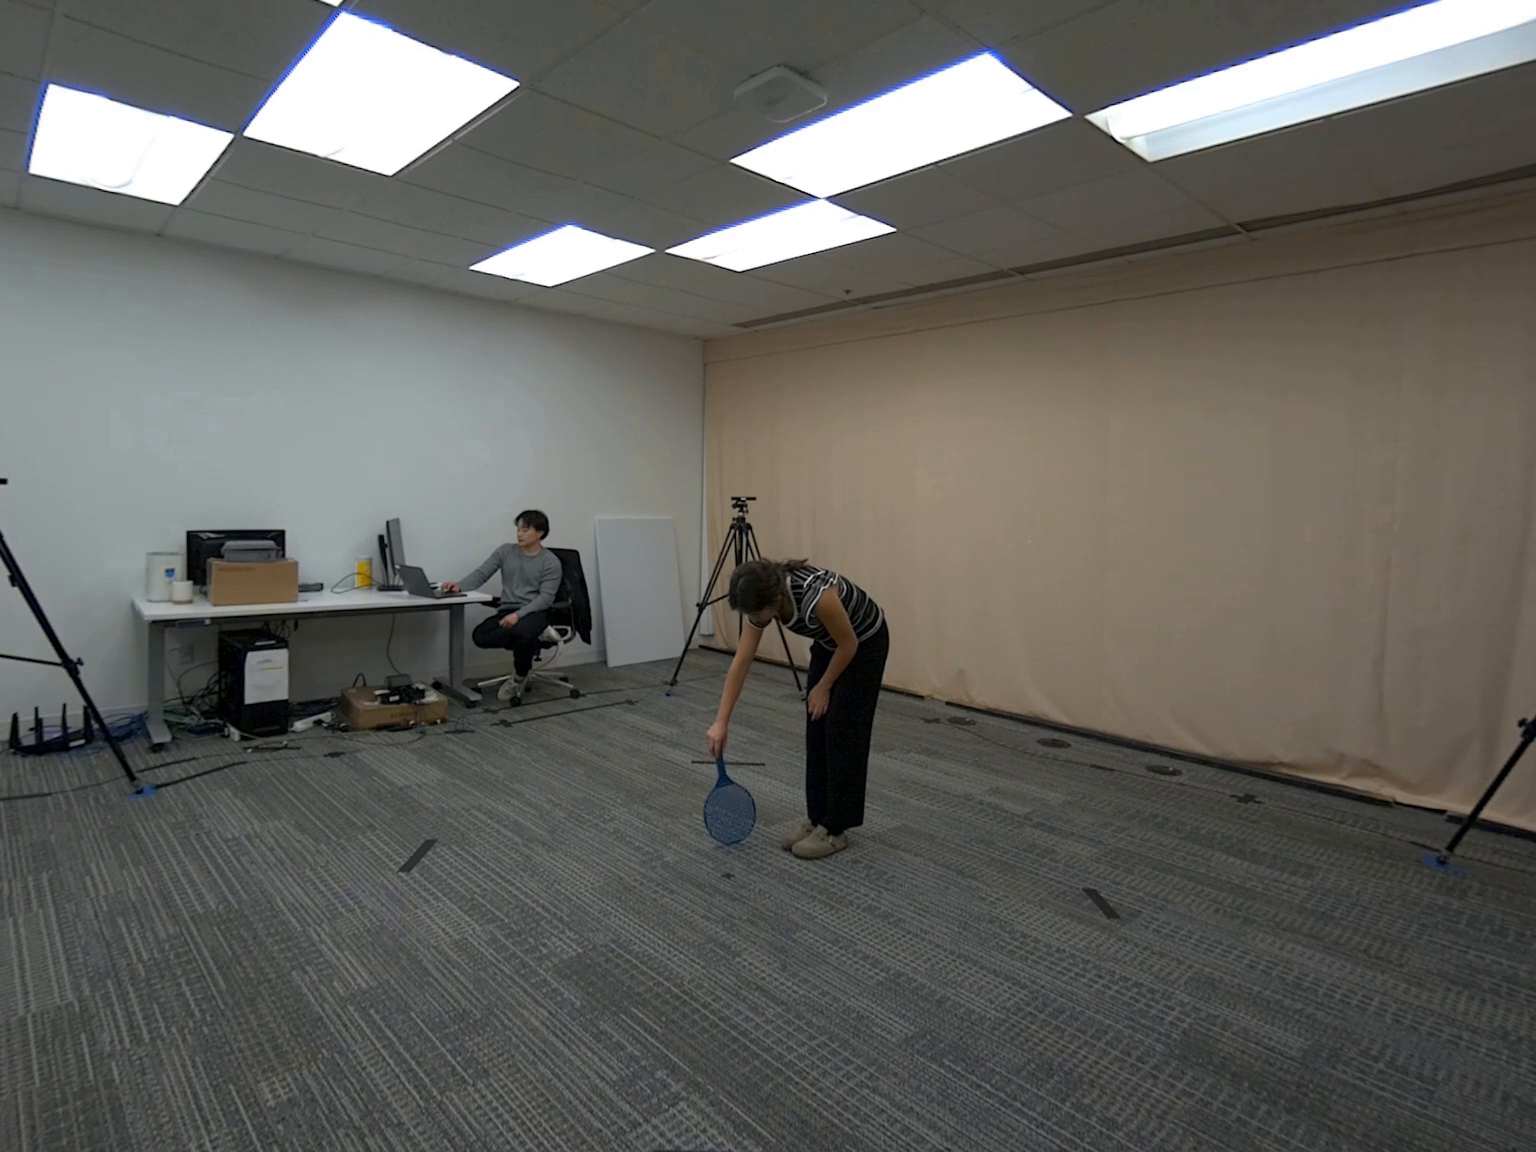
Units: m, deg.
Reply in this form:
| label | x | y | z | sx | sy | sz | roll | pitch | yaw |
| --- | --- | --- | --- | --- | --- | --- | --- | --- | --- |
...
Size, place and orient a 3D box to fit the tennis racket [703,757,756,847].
| label | x | y | z | sx | sy | sz | roll | pitch | yaw |
| --- | --- | --- | --- | --- | --- | --- | --- | --- | --- |
| tennis racket | -0.172 | 0.871 | 3.353 | 0.213 | 0.428 | 0.032 | -11 | 12 | -8 |
